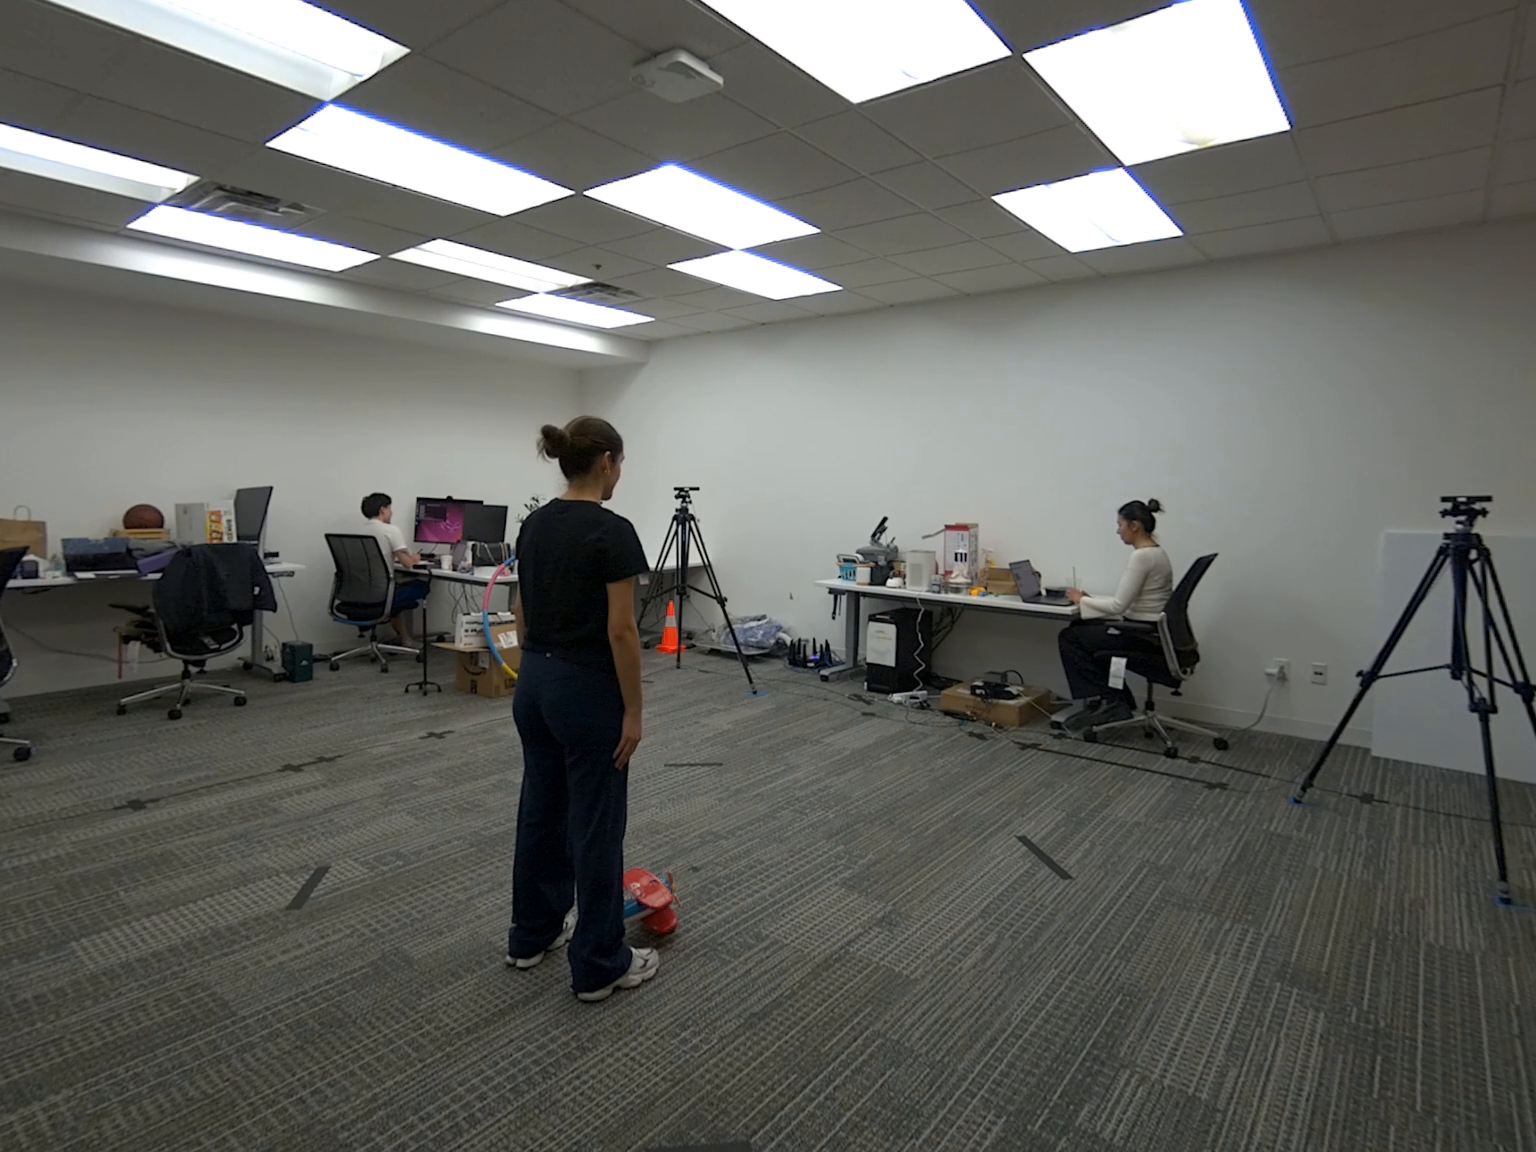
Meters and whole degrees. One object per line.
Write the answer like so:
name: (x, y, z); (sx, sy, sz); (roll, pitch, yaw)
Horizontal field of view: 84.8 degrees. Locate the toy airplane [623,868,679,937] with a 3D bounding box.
toy airplane: (-0.385, 1.037, 2.646); (0.258, 0.156, 0.252); (3, 4, 29)
